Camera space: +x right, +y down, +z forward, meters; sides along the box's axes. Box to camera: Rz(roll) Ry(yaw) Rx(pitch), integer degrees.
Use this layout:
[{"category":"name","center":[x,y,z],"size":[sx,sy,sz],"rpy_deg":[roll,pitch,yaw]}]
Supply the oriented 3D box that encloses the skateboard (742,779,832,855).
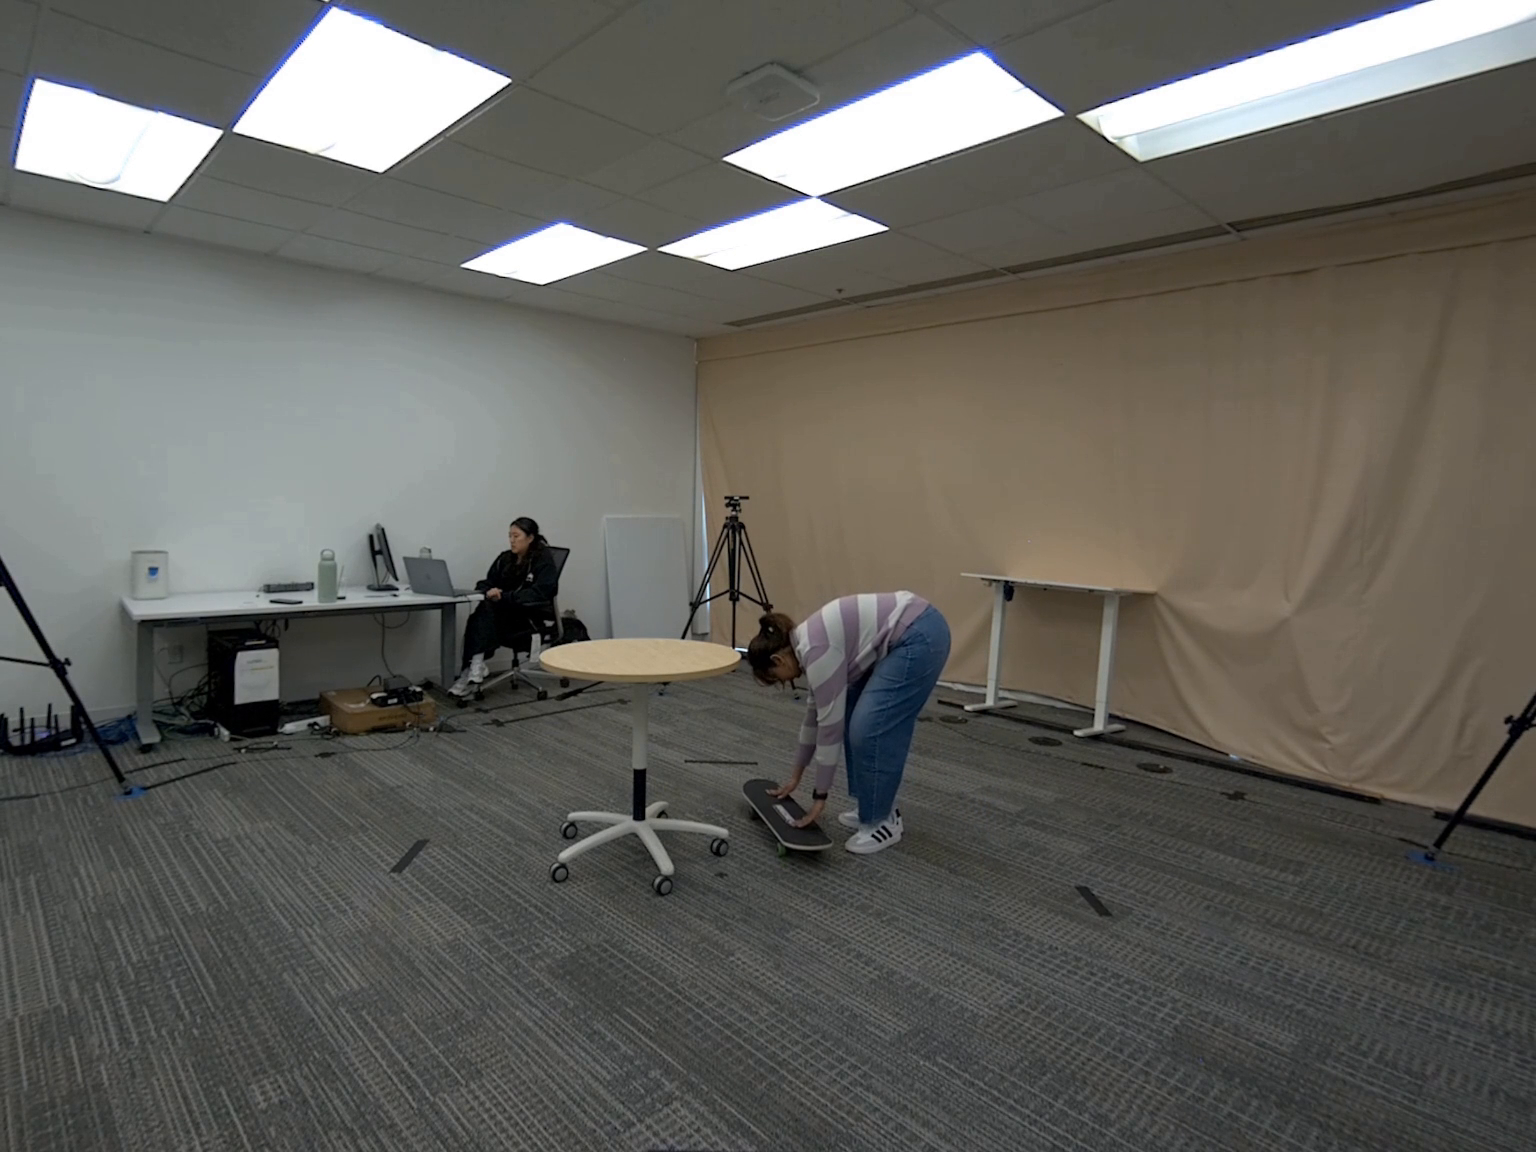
[{"category":"skateboard","center":[0.056,1.017,3.486],"size":[0.191,0.110,0.797],"rpy_deg":[0,5,-17]}]
